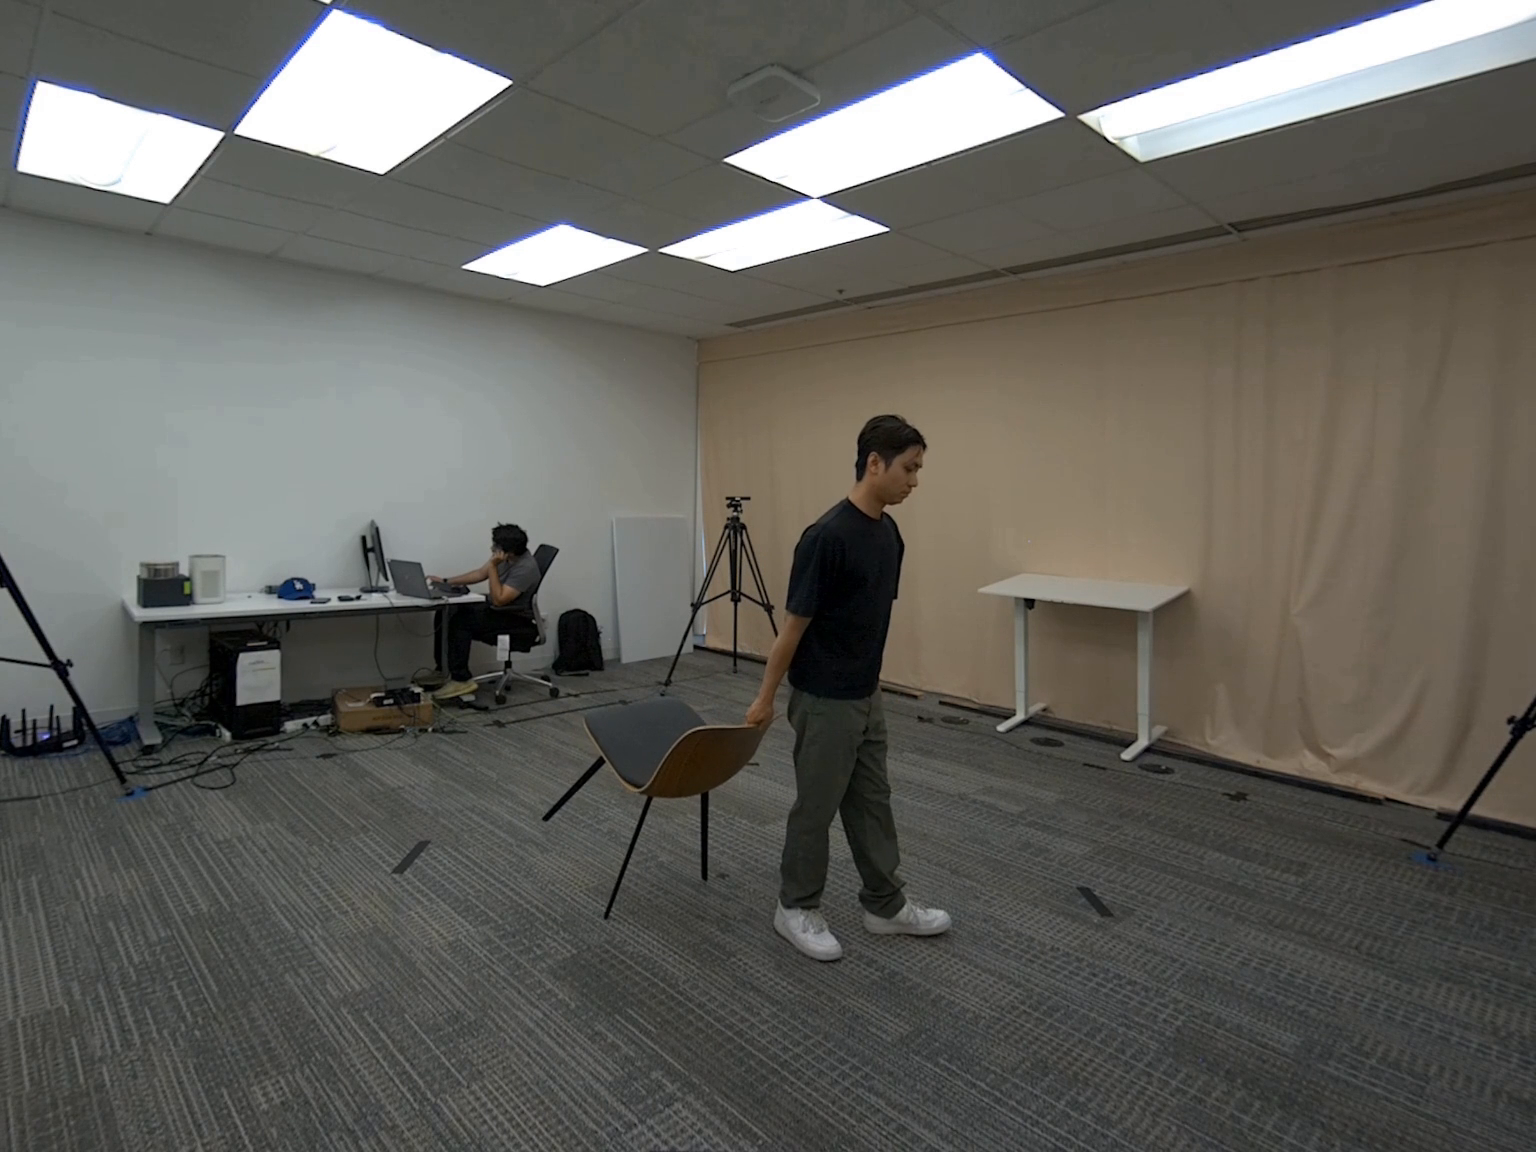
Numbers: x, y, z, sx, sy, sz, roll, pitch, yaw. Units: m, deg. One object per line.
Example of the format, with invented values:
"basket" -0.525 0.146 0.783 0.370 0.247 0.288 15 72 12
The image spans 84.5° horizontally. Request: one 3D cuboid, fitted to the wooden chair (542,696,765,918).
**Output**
"wooden chair" -0.368 0.631 2.880 0.467 0.870 0.539 -3 39 -44
